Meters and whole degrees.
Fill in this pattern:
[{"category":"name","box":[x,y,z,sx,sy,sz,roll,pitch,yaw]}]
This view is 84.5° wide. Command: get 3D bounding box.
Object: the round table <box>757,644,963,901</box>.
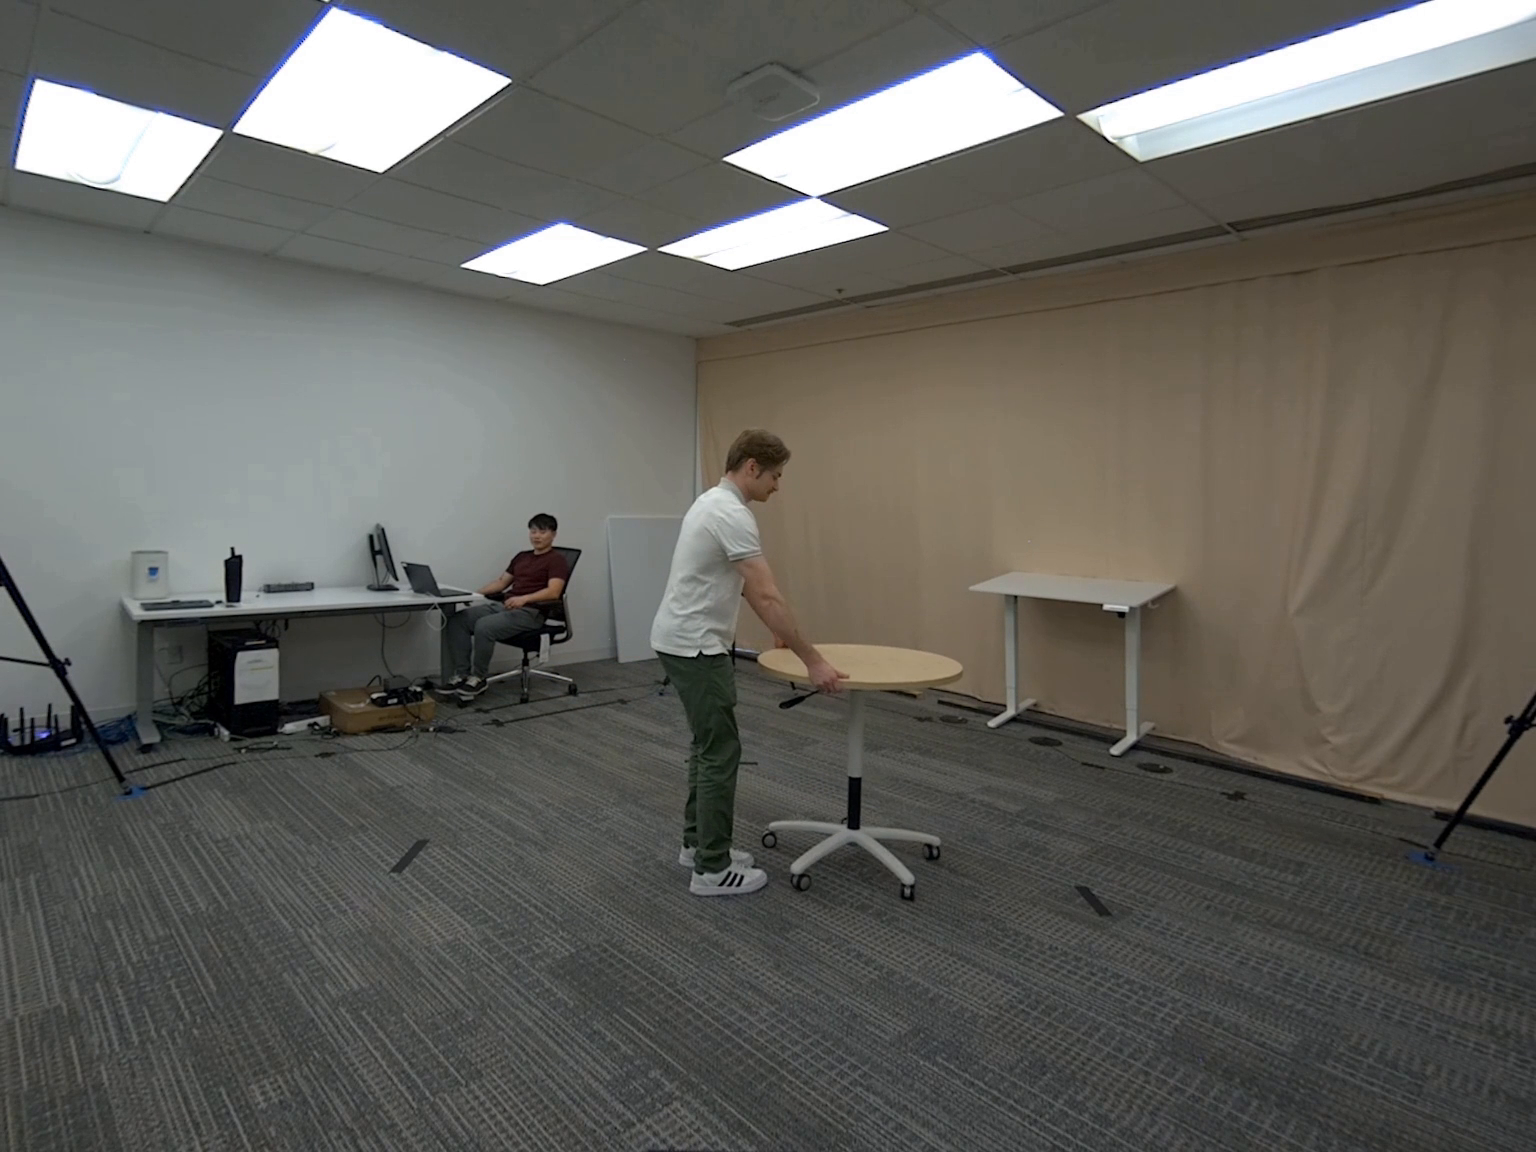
[{"category":"round table","box":[0.321,0.714,3.208,0.763,0.792,0.766,2,3,-1]}]
